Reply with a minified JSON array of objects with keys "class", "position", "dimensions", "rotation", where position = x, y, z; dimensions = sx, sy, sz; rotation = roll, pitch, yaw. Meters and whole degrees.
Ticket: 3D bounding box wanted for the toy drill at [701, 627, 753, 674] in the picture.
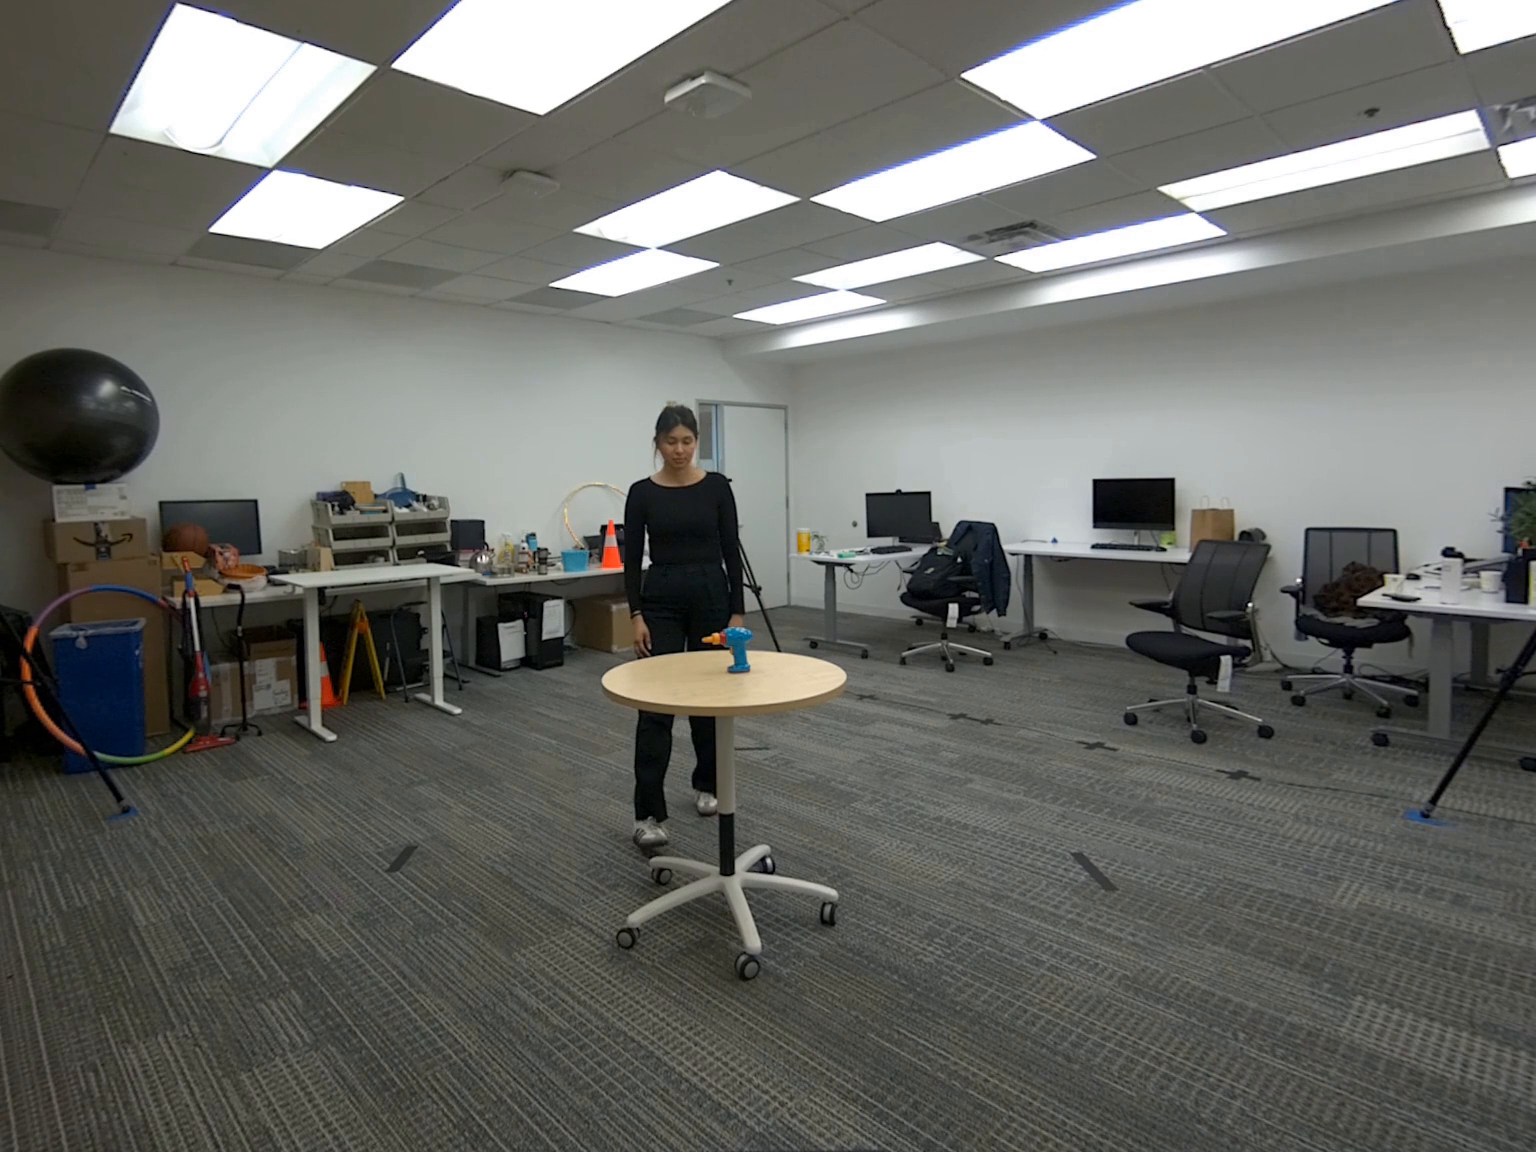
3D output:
[{"class":"toy drill","position":[-0.131,0.238,2.708],"dimensions":[0.167,0.145,0.062],"rotation":[-4,5,-21]}]
